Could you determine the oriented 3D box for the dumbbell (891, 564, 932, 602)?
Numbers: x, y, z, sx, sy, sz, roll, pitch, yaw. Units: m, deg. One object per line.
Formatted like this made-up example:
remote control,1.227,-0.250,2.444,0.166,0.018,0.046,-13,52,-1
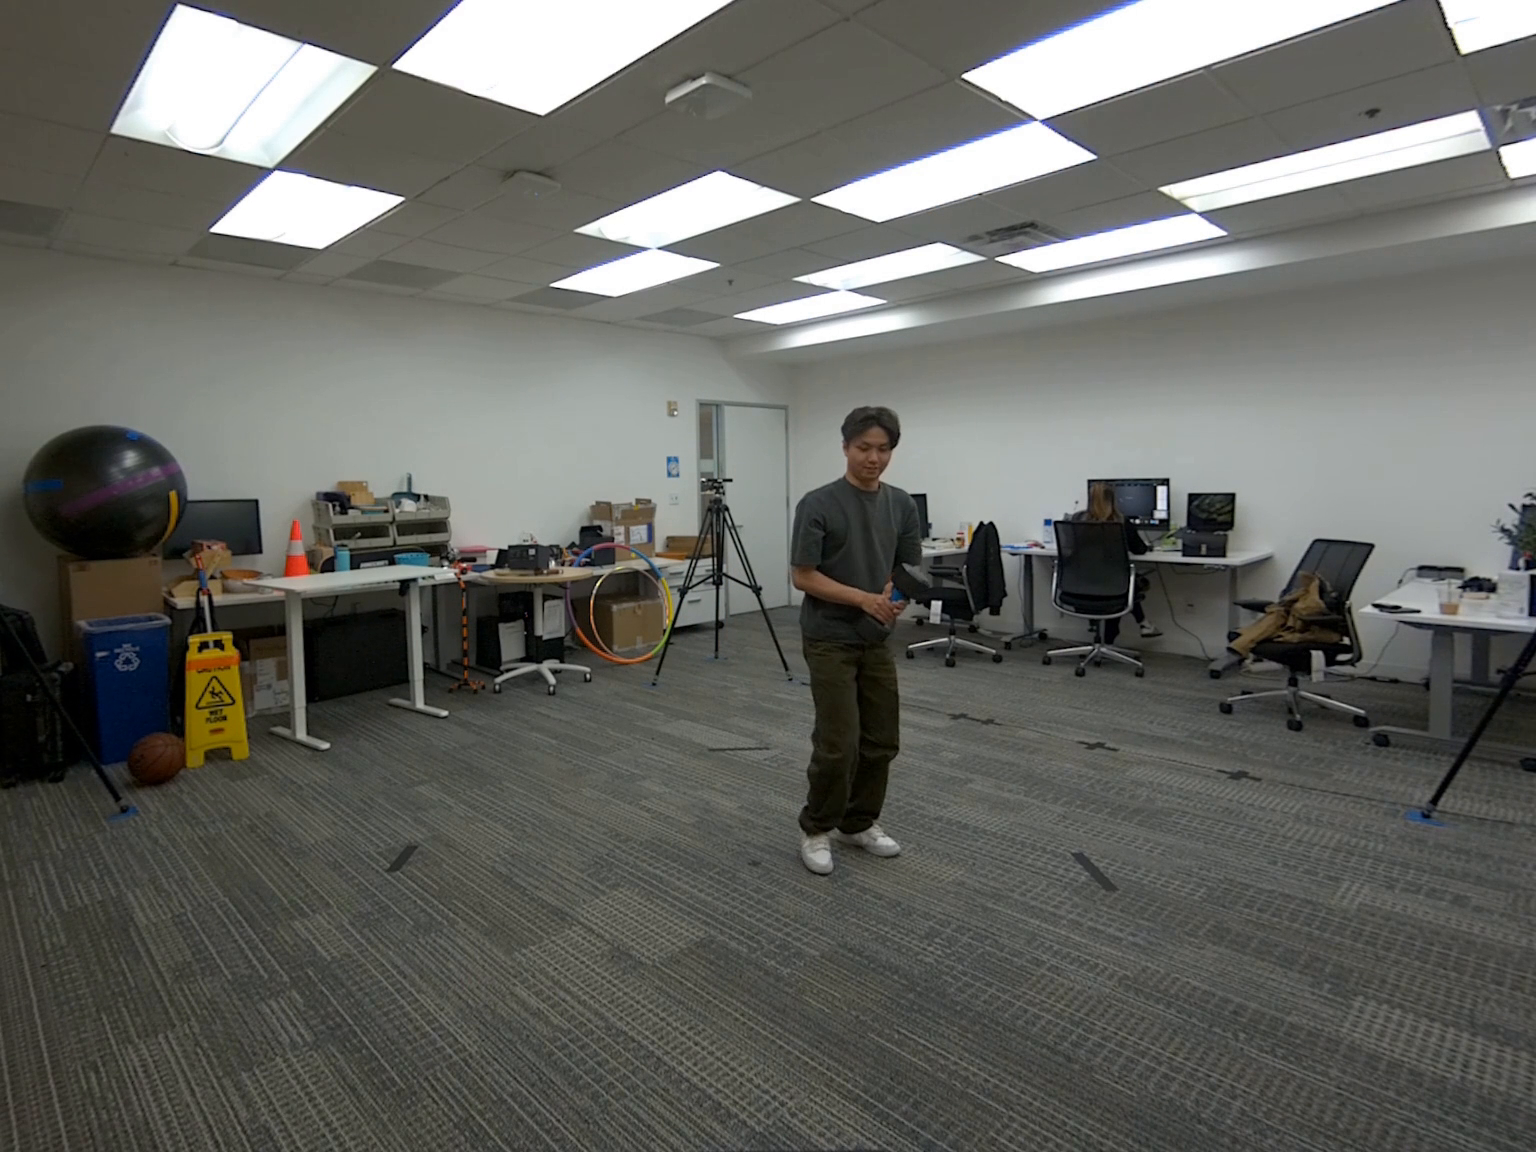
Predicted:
dumbbell,0.424,0.107,2.941,0.125,0.293,0.107,42,15,14
